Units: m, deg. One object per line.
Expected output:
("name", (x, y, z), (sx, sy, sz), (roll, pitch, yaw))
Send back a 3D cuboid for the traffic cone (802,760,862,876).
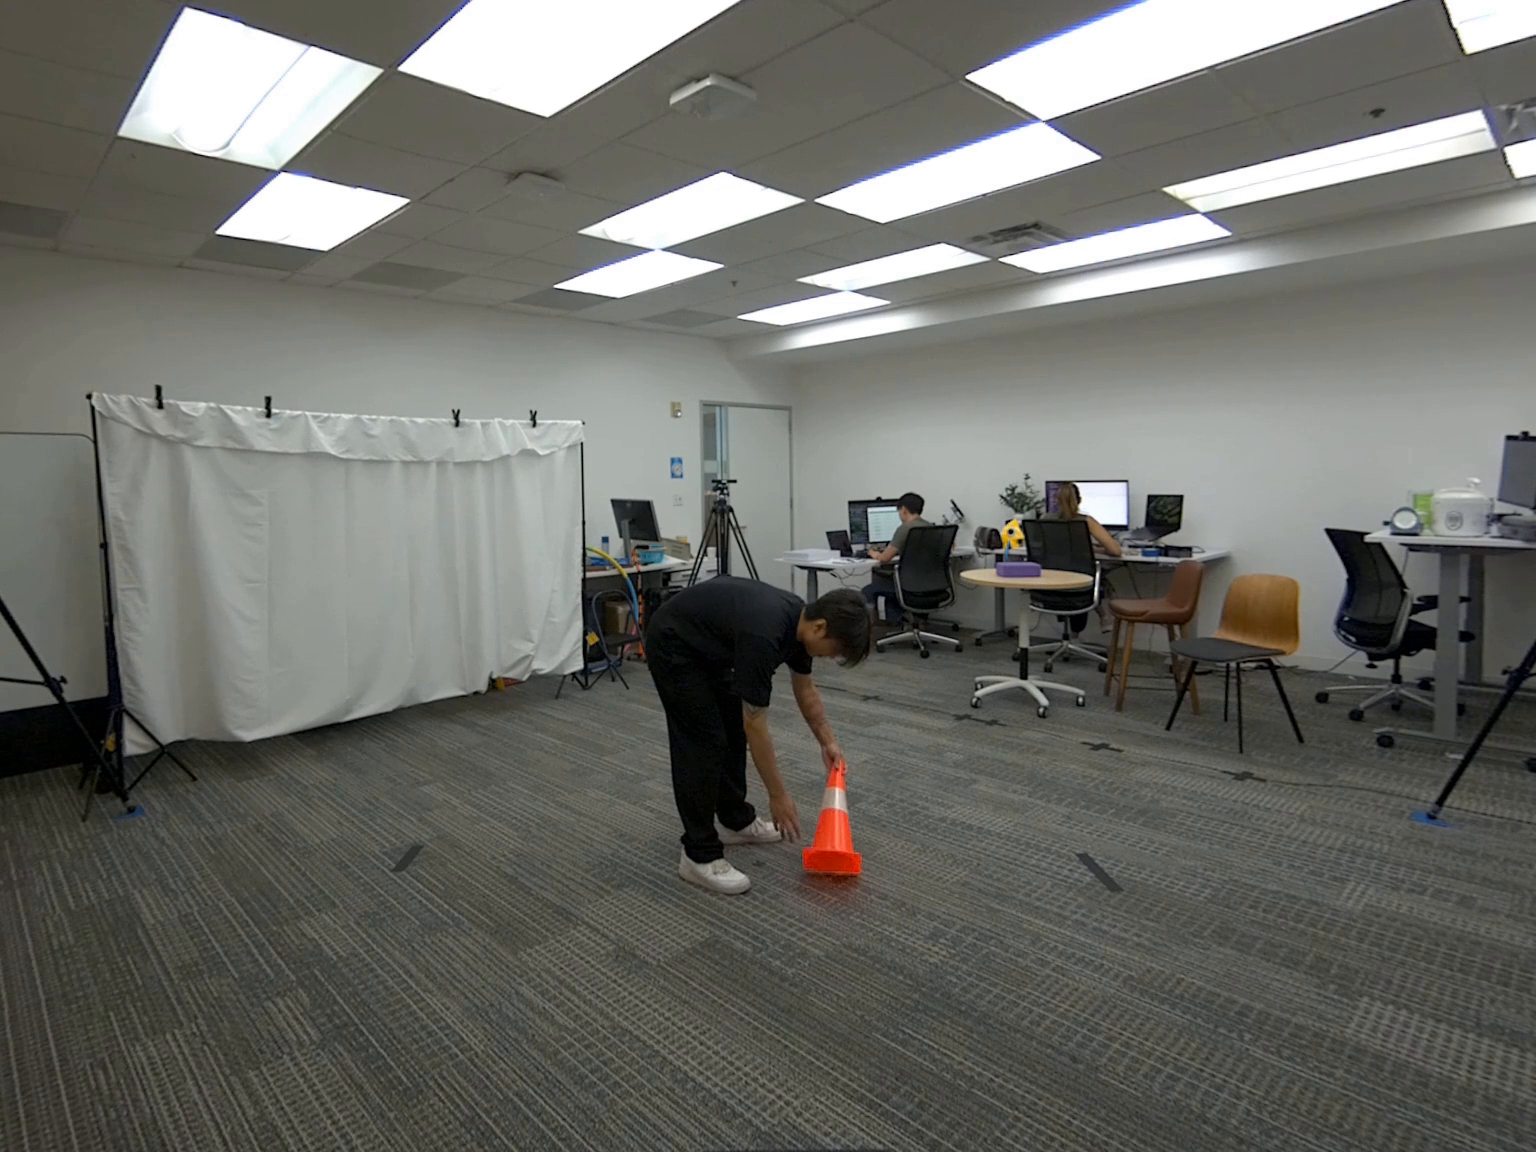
("traffic cone", (0.233, 0.835, 3.053), (0.205, 0.392, 0.199), (1, -39, 7))
